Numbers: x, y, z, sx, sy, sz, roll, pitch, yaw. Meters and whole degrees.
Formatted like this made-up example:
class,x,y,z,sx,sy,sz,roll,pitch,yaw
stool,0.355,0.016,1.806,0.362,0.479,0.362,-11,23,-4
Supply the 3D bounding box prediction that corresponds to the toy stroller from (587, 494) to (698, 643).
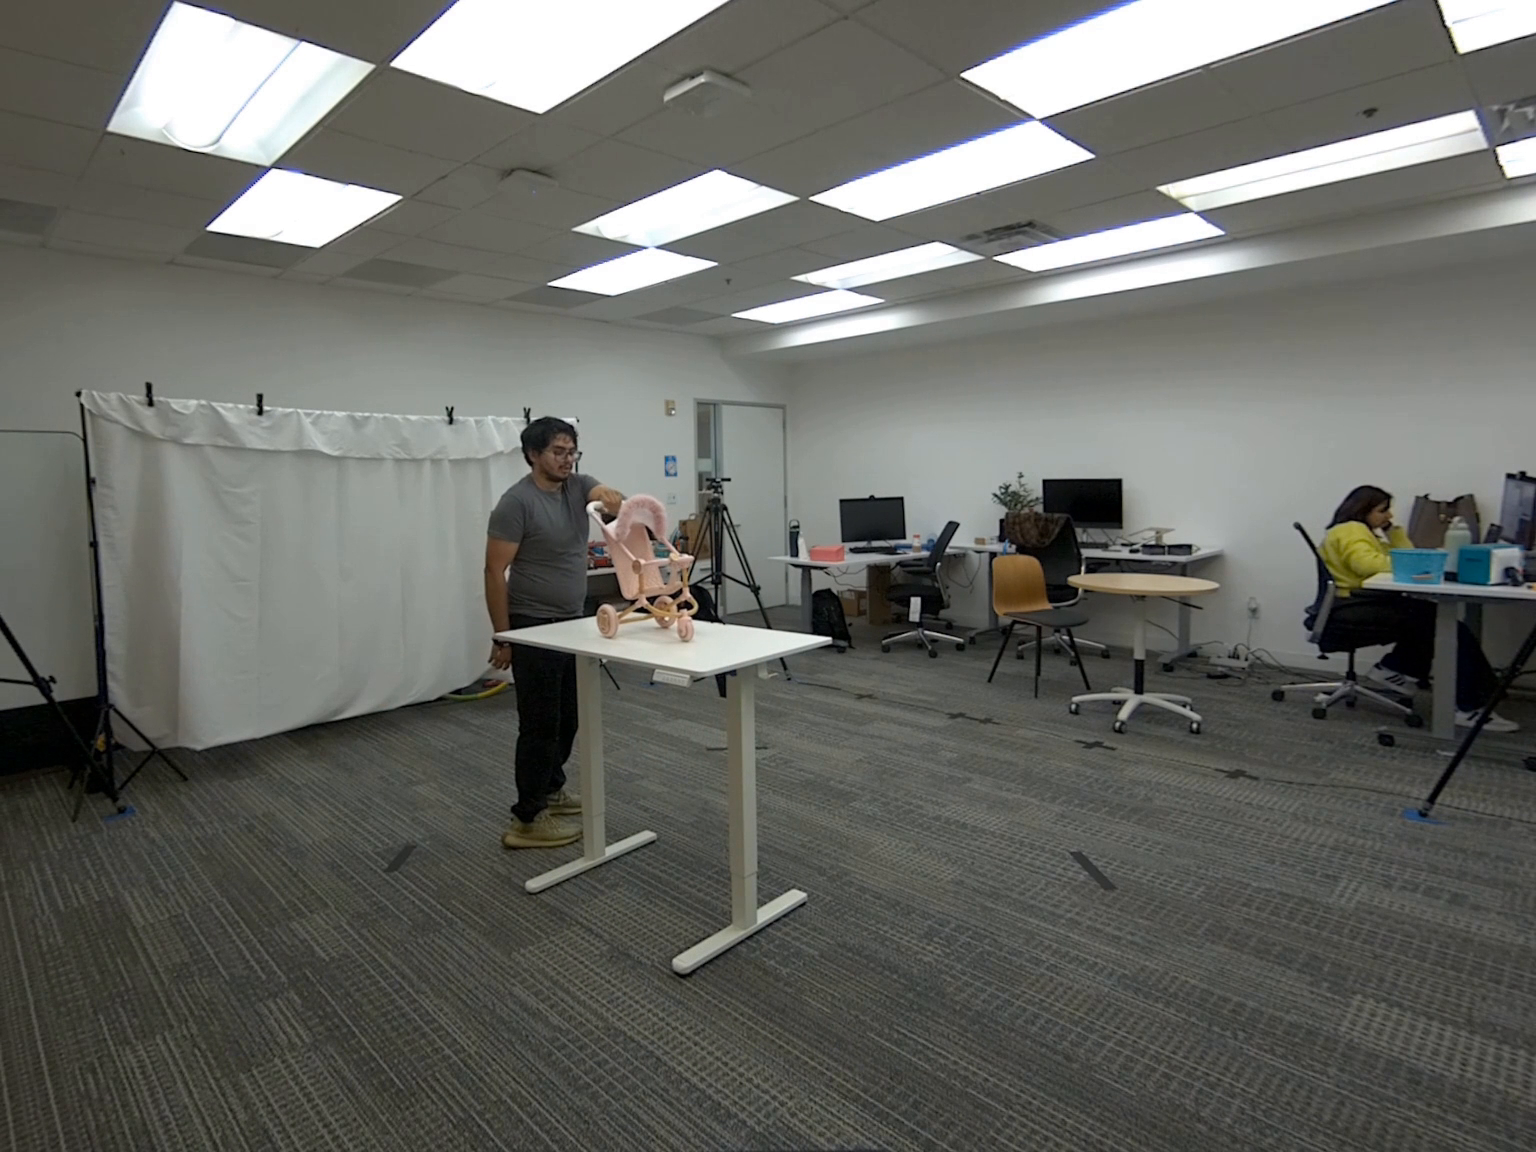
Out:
class,x,y,z,sx,sy,sz,roll,pitch,yaw
toy stroller,-0.403,-0.030,2.836,0.274,0.539,0.348,-5,-8,-41
